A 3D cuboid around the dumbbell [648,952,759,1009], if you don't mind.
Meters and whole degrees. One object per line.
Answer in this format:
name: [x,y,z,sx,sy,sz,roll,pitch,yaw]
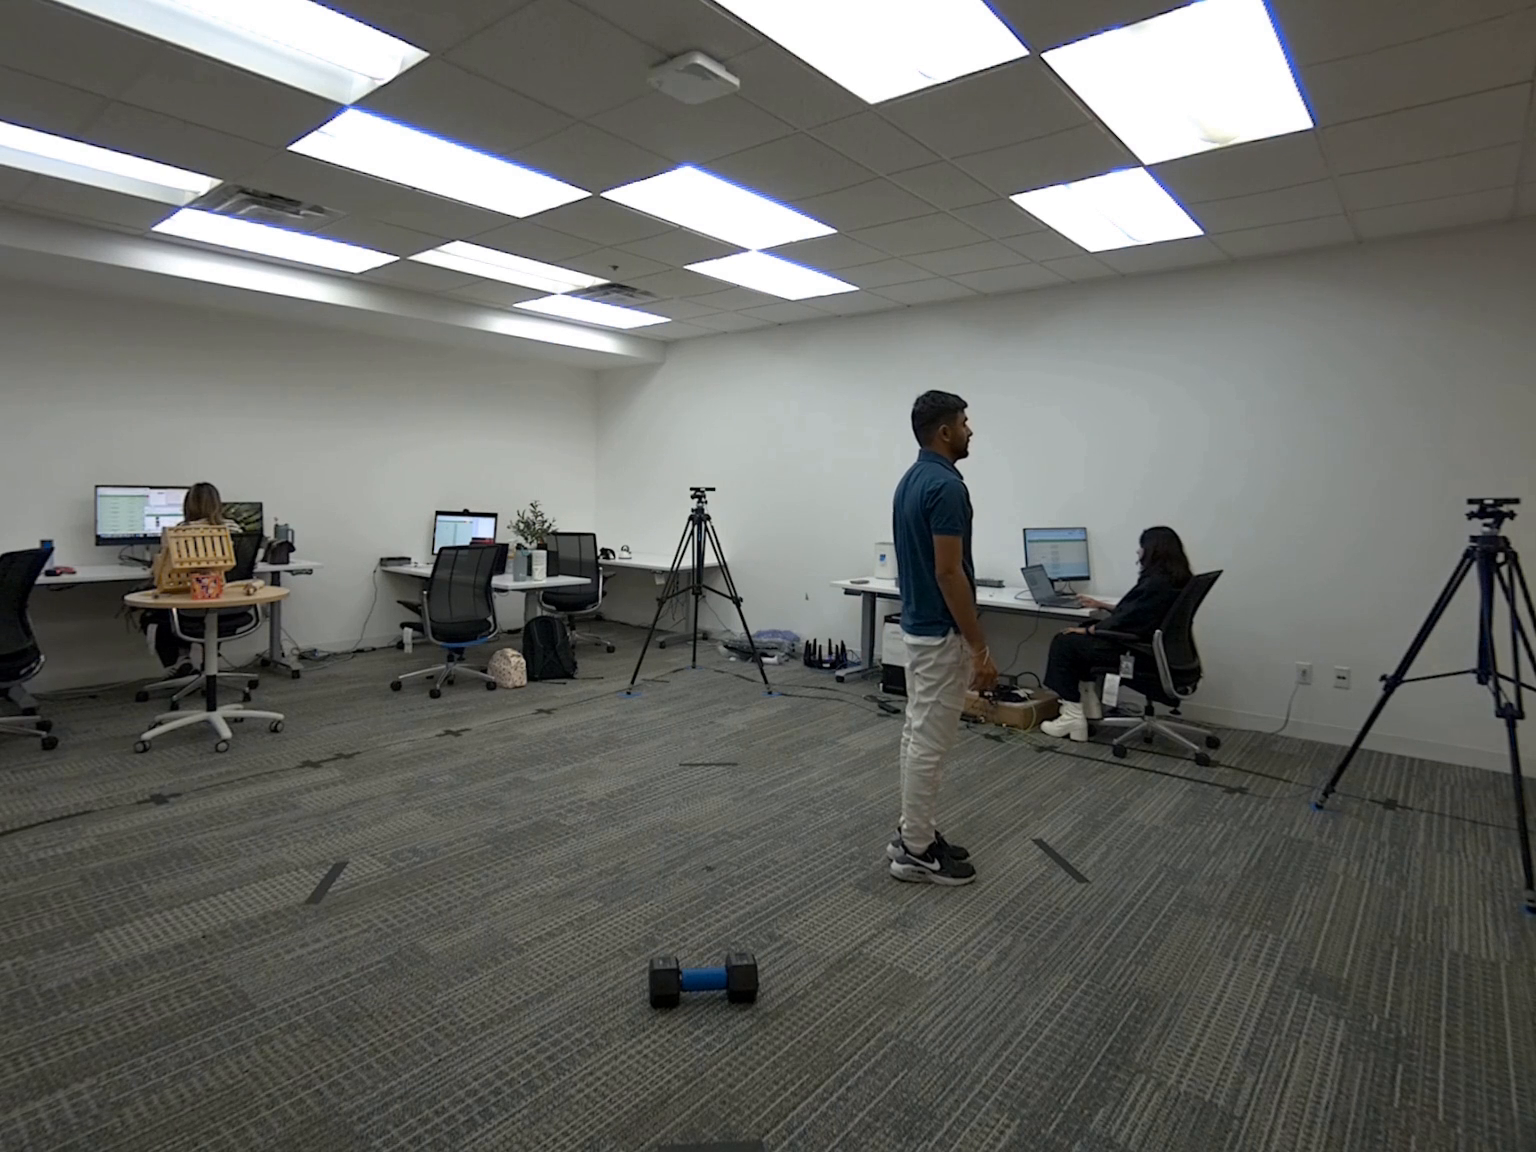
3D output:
dumbbell: [-0.179,1.095,2.314,0.291,0.126,0.107,0,-26,-8]
